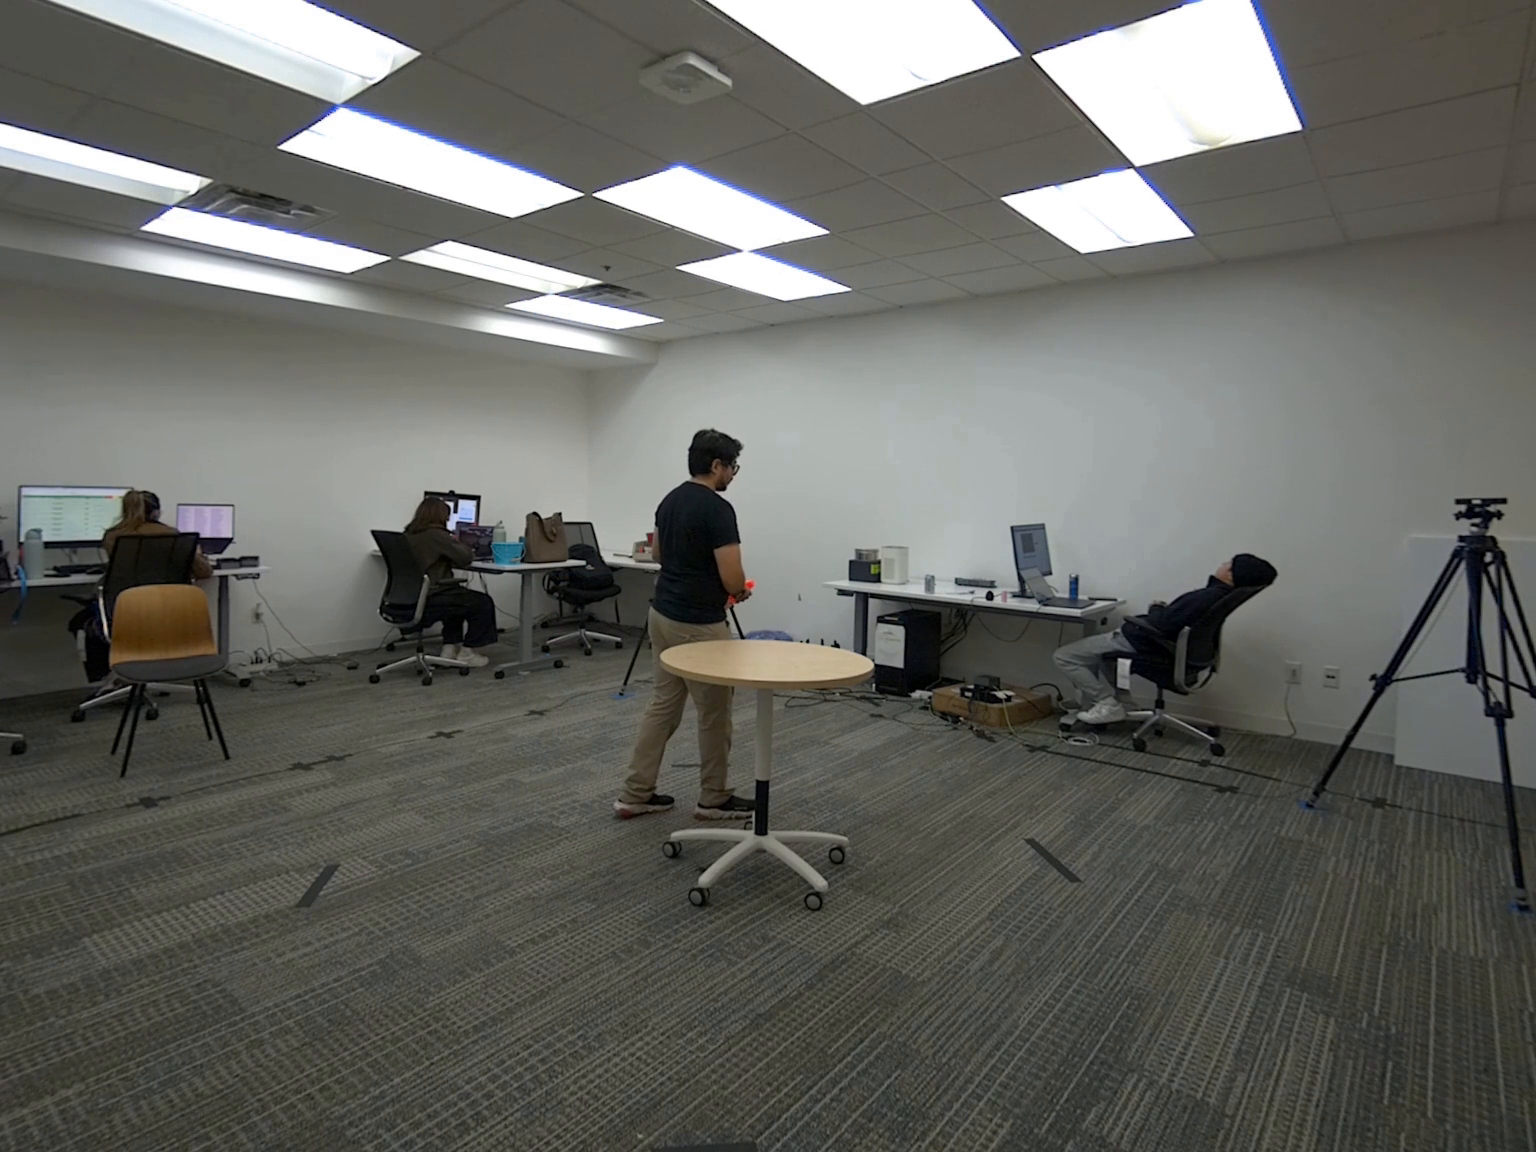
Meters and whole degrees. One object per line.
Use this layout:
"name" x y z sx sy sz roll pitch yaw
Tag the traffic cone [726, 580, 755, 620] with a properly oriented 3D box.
"traffic cone" -0.217 0.120 3.834 0.387 0.202 0.204 -31 13 30
